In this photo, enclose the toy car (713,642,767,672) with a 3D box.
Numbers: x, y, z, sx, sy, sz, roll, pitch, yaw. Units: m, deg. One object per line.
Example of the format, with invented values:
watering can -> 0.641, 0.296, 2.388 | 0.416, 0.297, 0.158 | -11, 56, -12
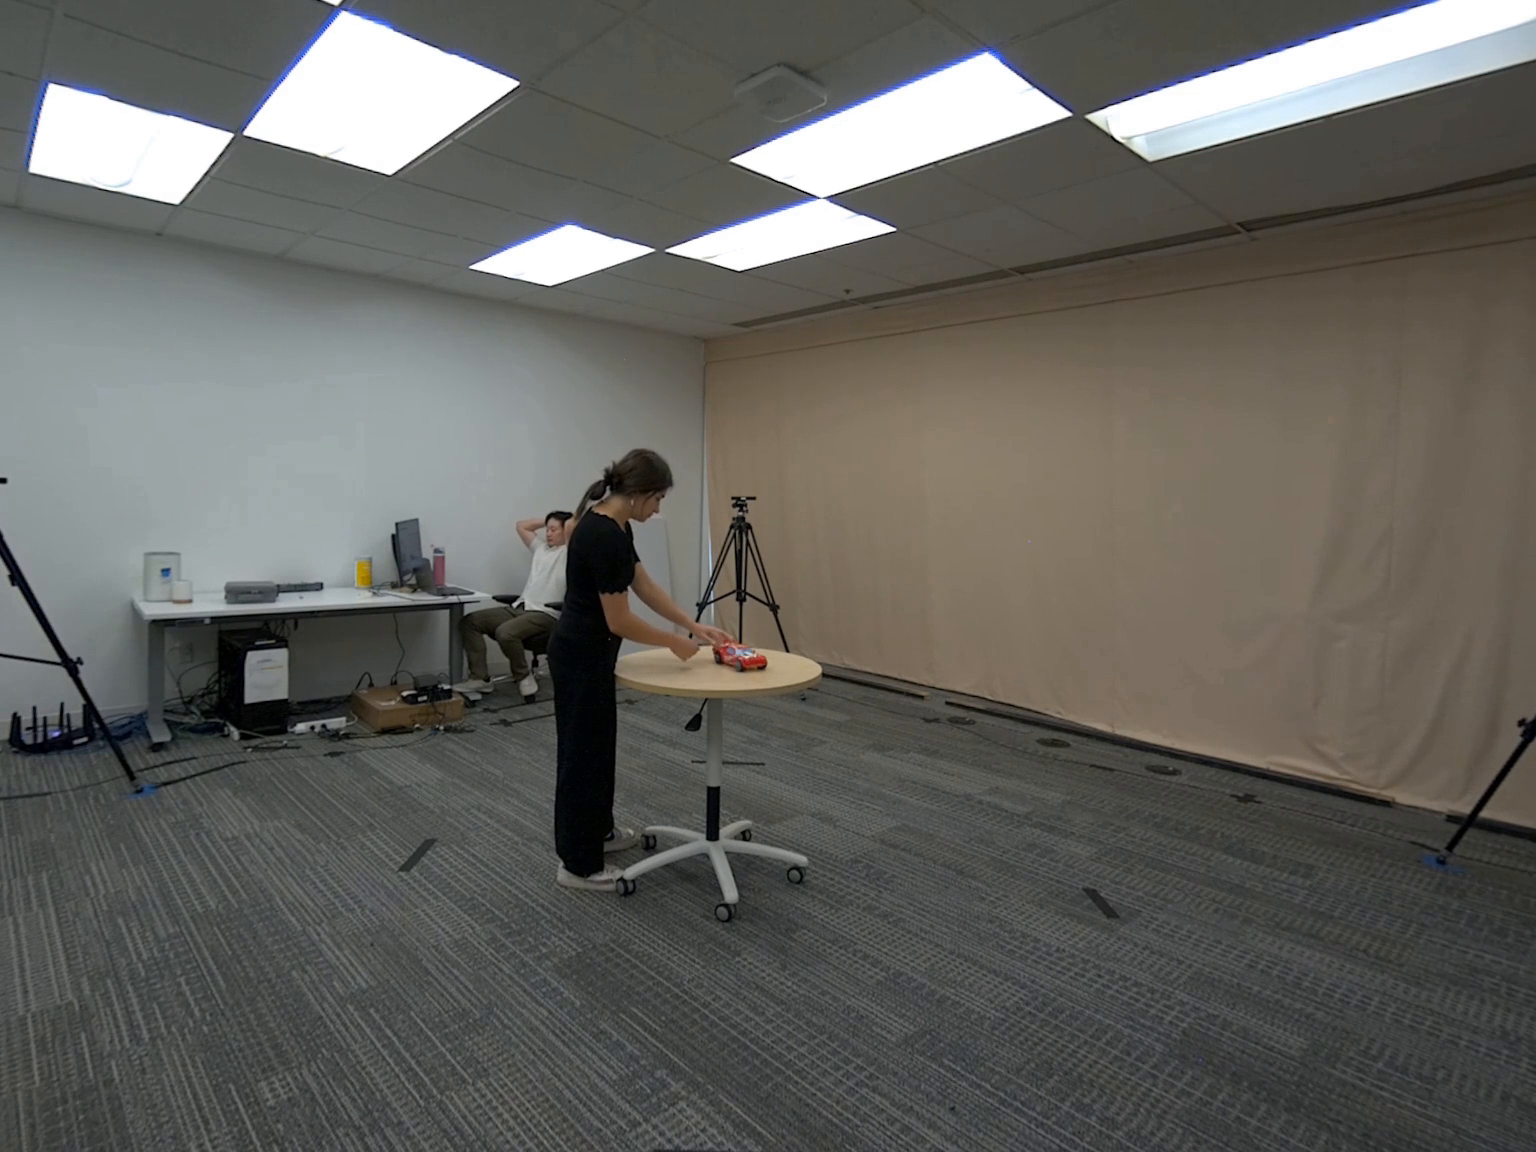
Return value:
toy car -> -0.121, 0.294, 3.060 | 0.128, 0.082, 0.262 | -3, 16, -32
